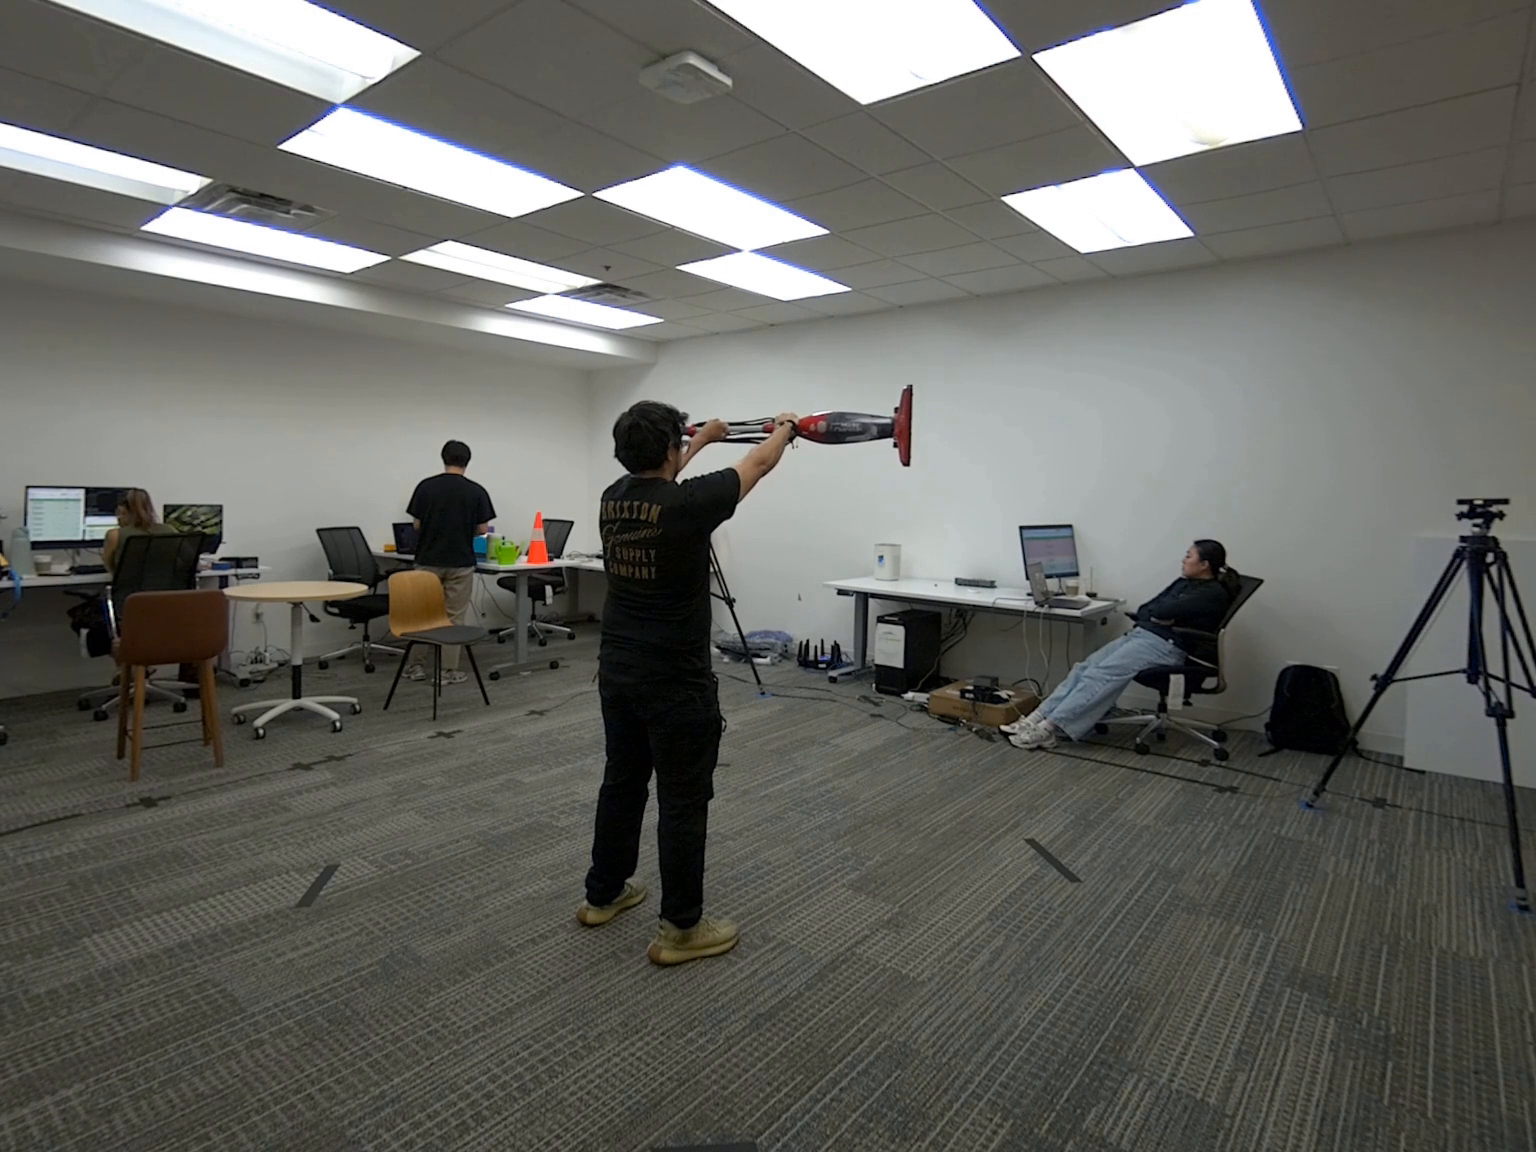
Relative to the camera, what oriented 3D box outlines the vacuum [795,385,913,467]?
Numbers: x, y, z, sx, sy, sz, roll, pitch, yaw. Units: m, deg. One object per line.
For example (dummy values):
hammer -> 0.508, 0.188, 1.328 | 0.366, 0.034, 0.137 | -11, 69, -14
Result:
vacuum -> -0.005, -0.518, 3.002 | 1.083, 0.251, 0.140 | 5, 10, 35
